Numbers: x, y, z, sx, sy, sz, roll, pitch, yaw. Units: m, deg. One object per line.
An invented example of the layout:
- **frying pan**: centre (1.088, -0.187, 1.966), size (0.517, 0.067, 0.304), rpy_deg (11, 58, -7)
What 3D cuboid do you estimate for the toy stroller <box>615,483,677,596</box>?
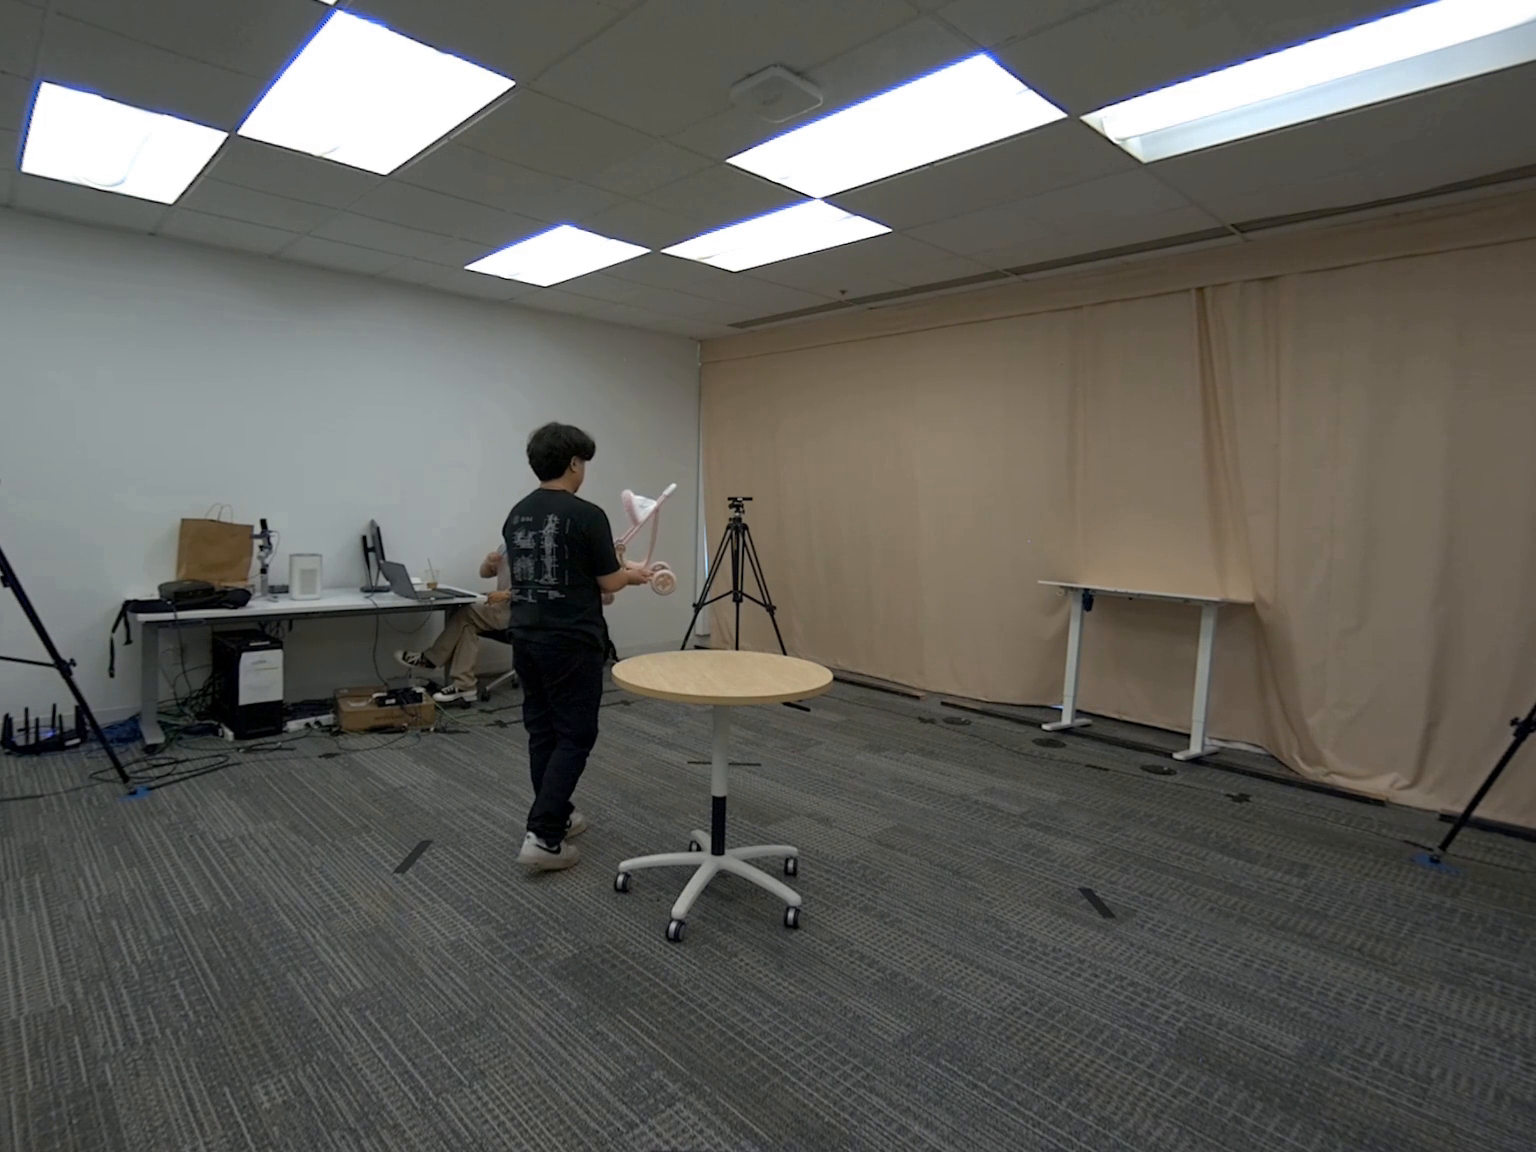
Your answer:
- **toy stroller**: centre (-0.584, -0.138, 3.674), size (0.340, 0.532, 0.284), rpy_deg (1, 8, -6)
